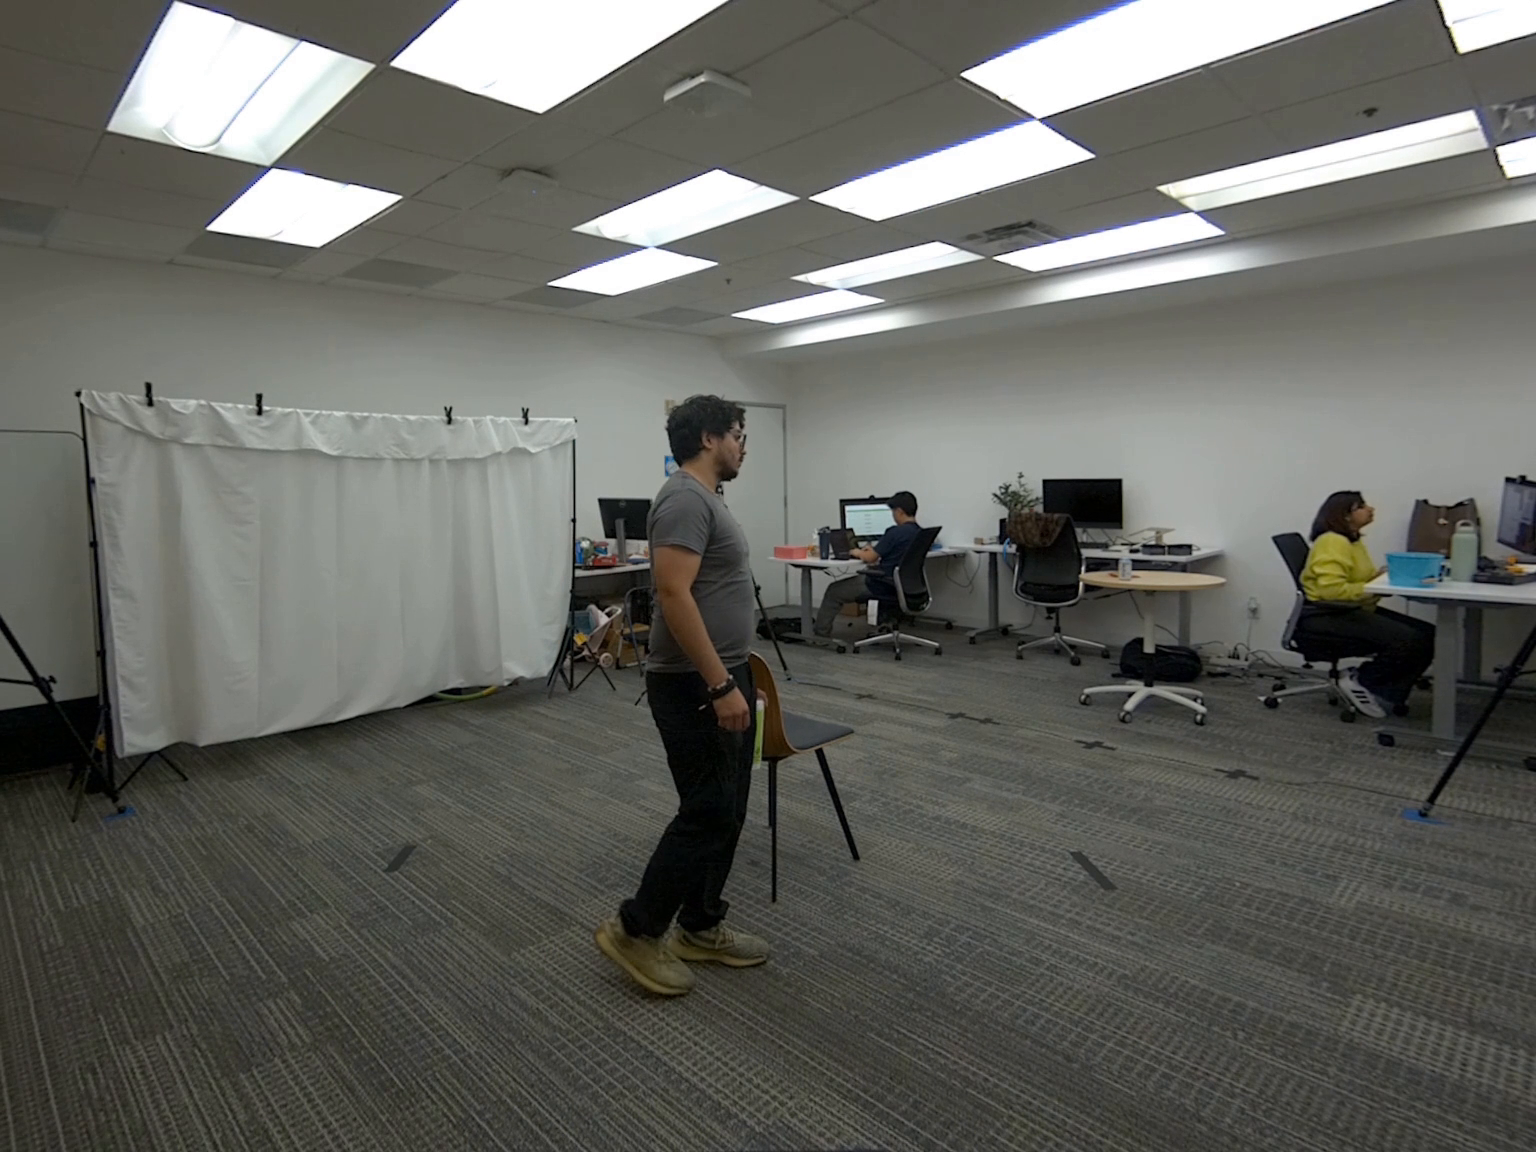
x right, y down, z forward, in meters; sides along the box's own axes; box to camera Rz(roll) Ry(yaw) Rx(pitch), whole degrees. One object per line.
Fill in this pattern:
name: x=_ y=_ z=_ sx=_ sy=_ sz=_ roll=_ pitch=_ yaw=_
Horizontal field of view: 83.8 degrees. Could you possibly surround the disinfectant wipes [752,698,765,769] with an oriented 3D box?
disinfectant wipes: x=-0.069 y=0.497 z=2.681 sx=0.118 sy=0.218 sz=0.117 roll=-2 pitch=-3 yaw=-2
